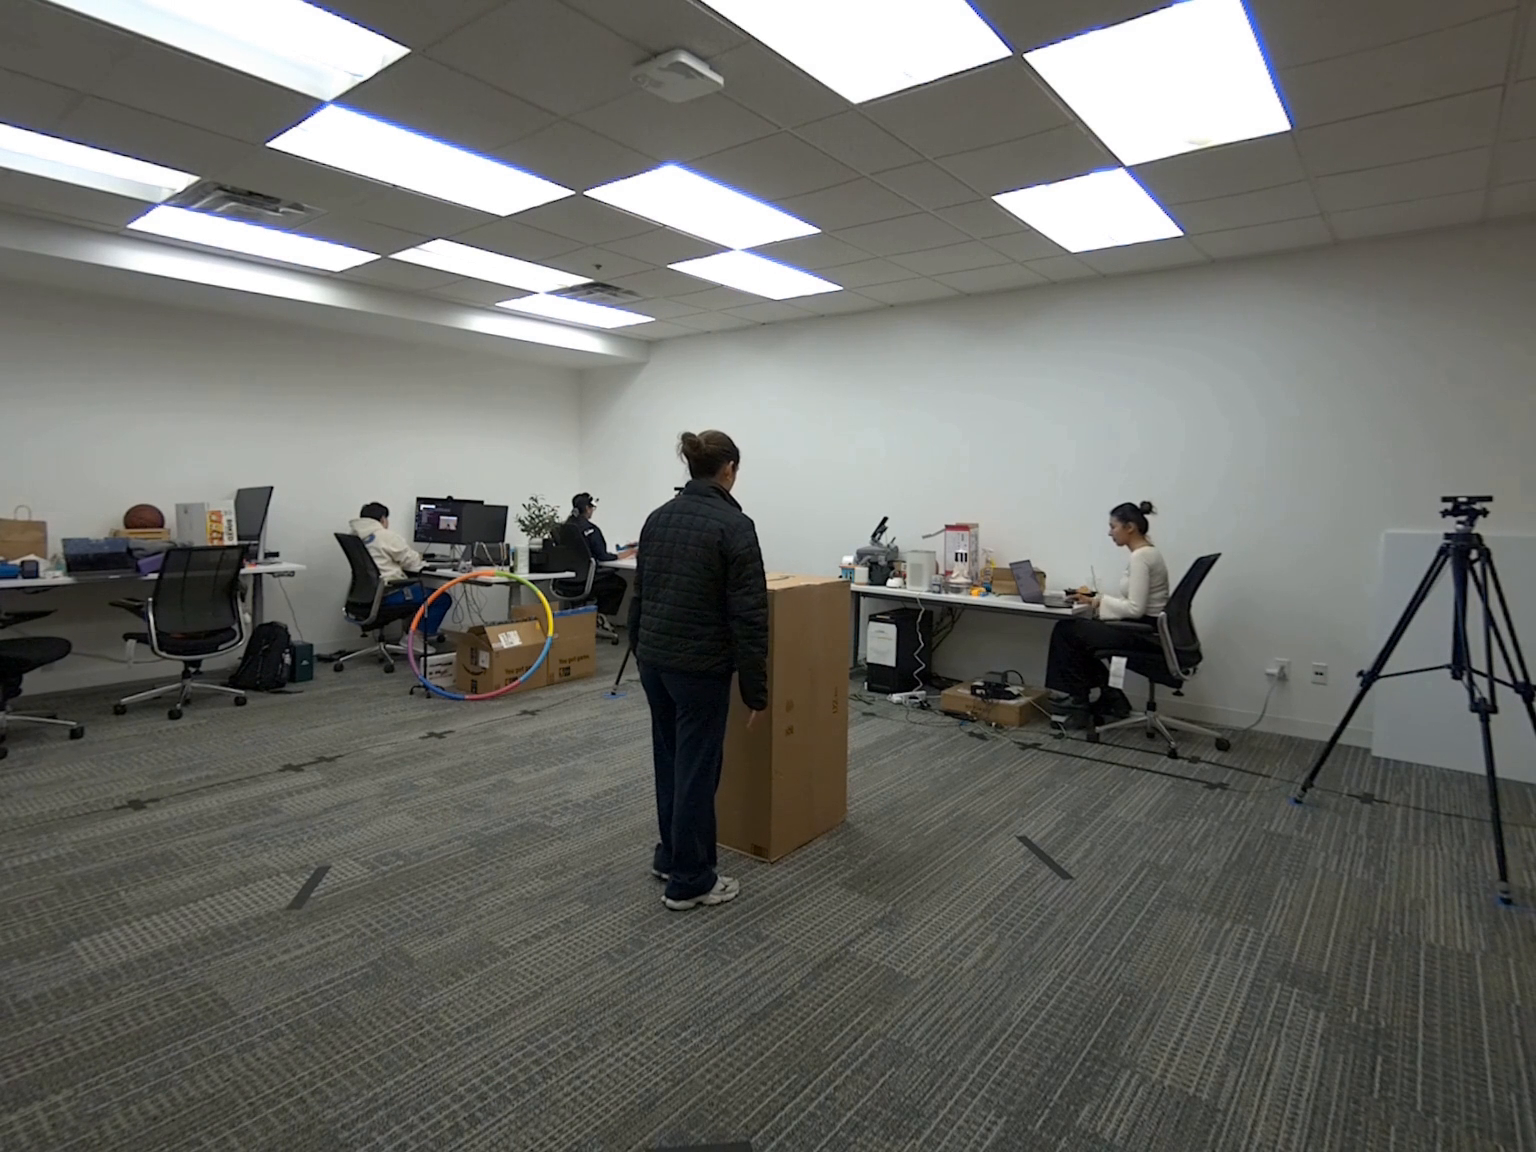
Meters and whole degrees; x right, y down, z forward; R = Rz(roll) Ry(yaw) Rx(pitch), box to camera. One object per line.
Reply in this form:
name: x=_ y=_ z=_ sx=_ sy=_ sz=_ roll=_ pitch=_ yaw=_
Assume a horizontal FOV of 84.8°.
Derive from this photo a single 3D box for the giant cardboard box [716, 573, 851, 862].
giant cardboard box: x=0.027 y=0.524 z=3.493 sx=0.440 sy=1.023 sz=0.561 roll=3 pitch=4 yaw=37
